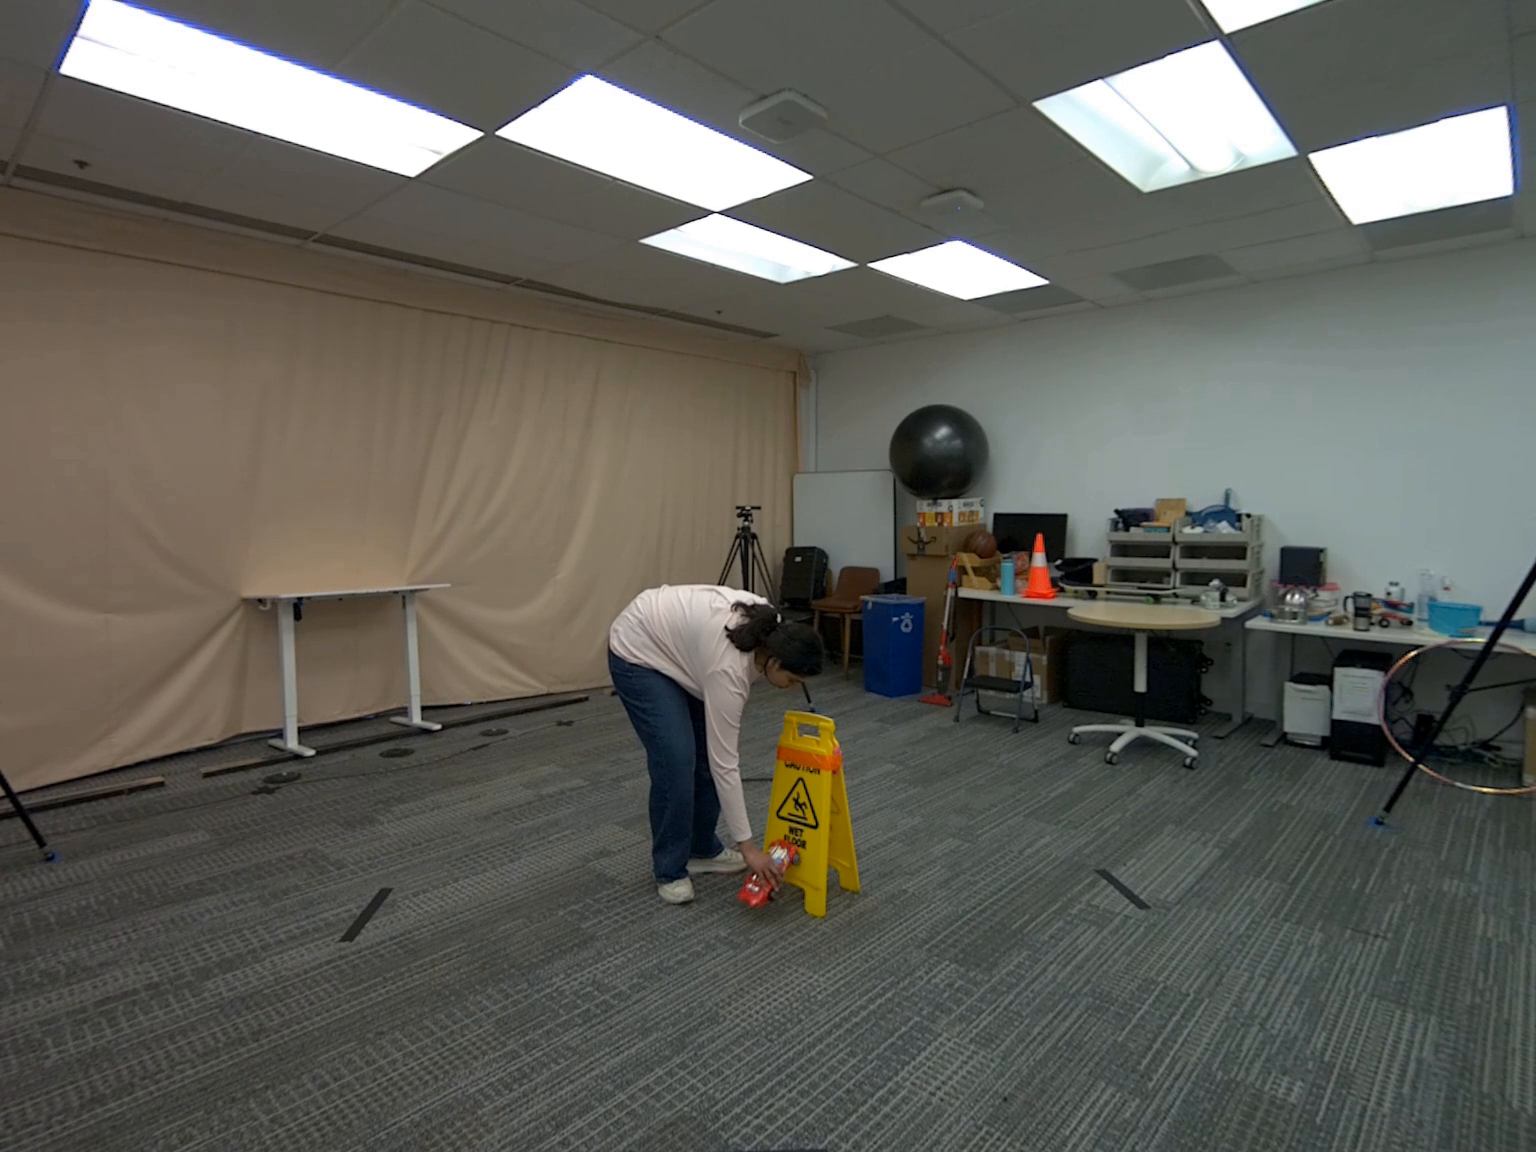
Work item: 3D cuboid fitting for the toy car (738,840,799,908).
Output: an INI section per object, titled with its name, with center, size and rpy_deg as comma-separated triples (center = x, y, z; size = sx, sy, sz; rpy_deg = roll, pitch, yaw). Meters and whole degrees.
[toy car]
center = 0.002, 1.015, 2.885
size = 0.135, 0.081, 0.251
rpy_deg = 5, 35, 44
